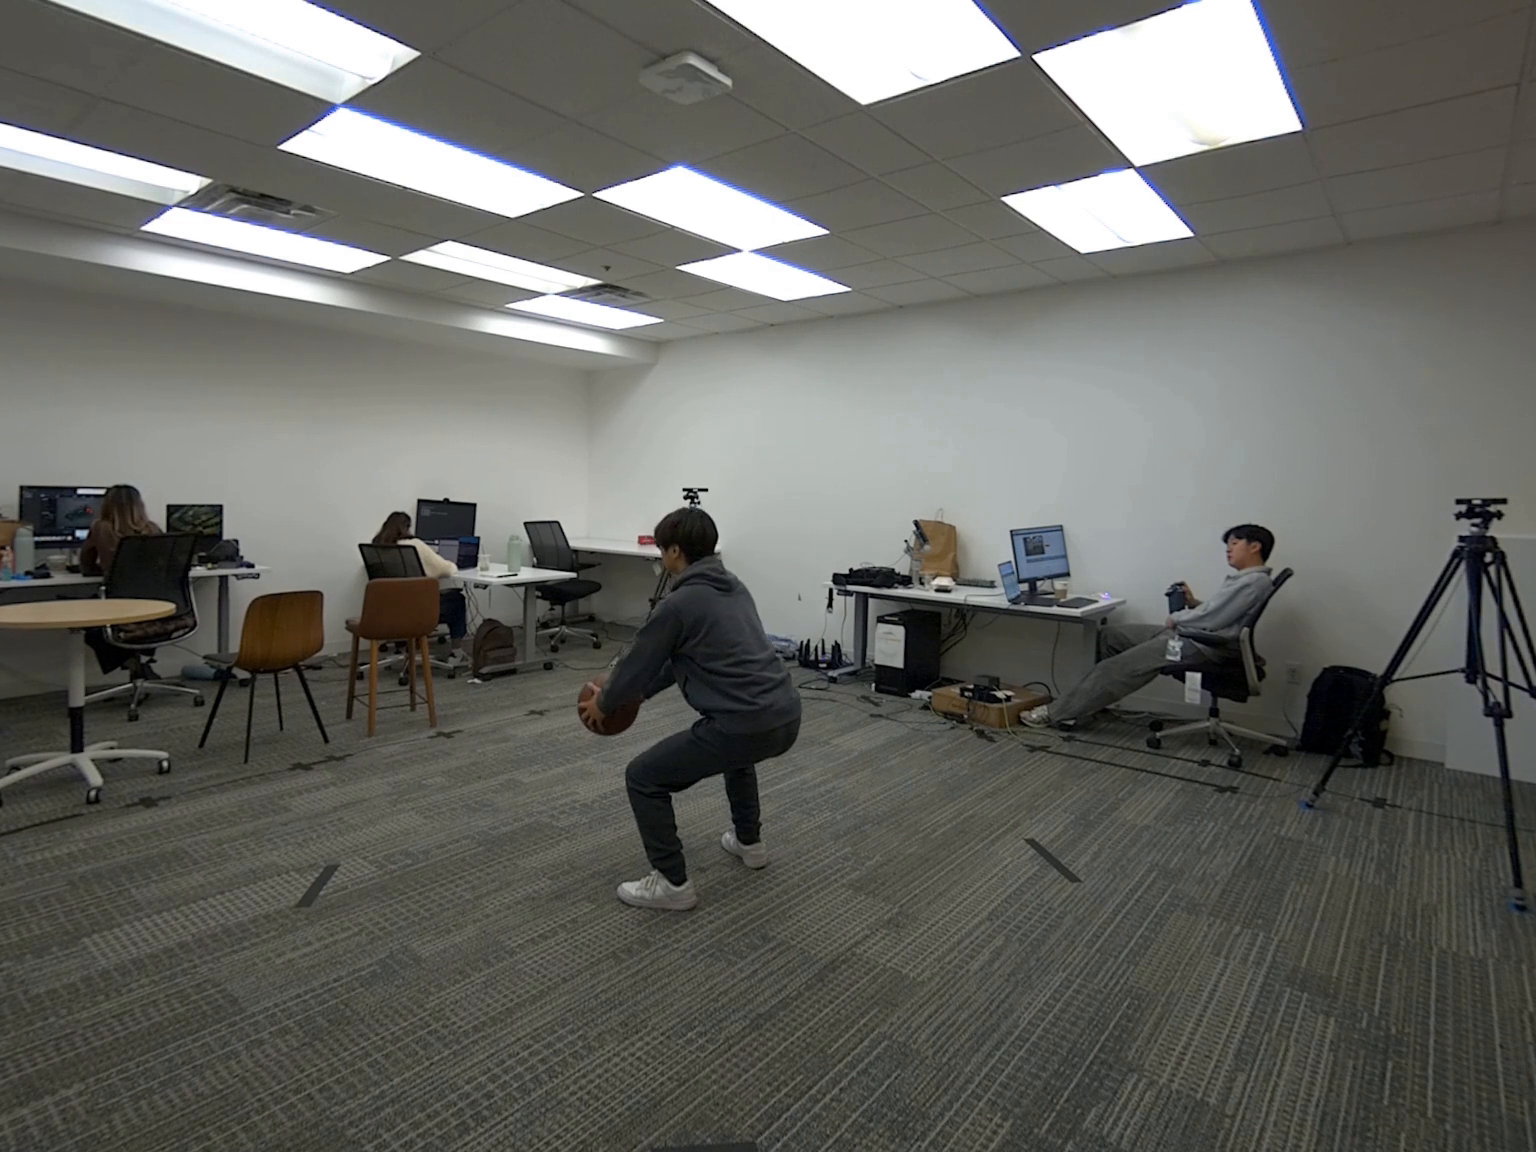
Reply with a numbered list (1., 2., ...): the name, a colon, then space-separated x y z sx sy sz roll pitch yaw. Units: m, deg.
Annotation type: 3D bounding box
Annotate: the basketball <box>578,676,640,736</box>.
1. basketball: -0.623 0.493 3.274 0.235 0.235 0.237 1 4 -2
